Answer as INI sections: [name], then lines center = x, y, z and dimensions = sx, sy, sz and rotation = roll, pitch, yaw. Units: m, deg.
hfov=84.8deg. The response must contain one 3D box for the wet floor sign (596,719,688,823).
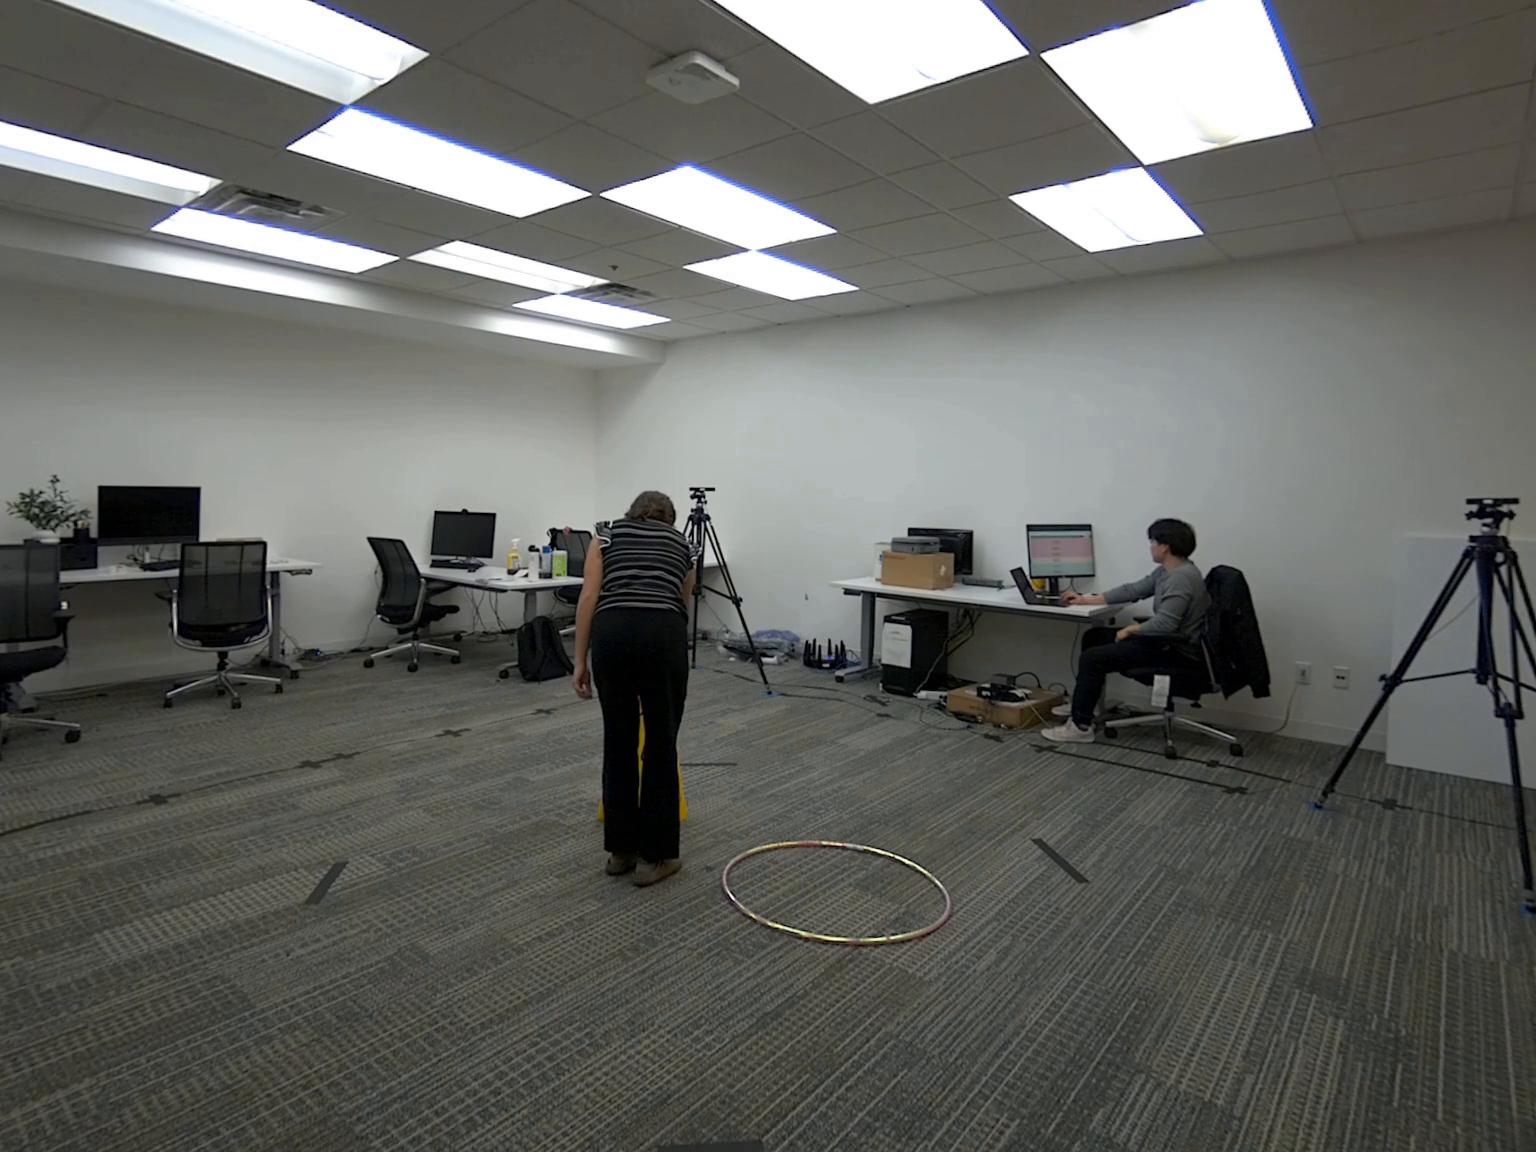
[wet floor sign]
center = -0.523, 0.690, 3.543
dimensions = 0.299, 0.644, 0.274
rotation = 5, 5, 41
